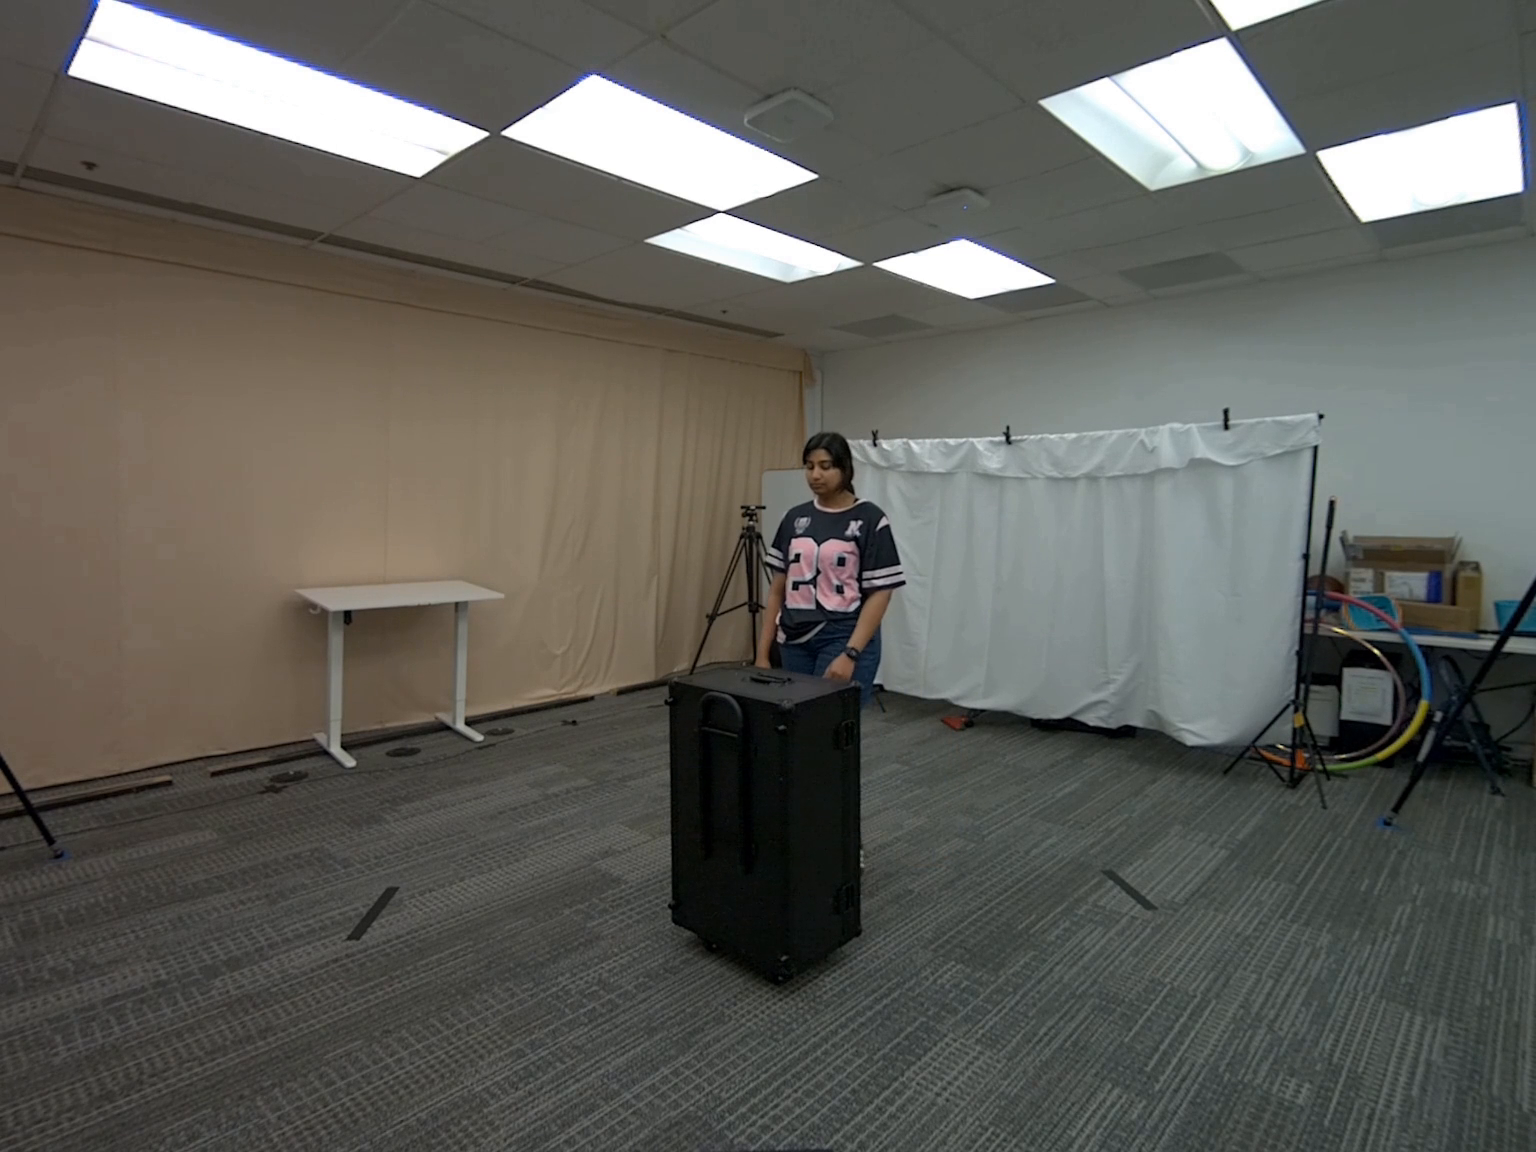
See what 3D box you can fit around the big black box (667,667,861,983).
[{"bbox_3d":[-0.007,0.756,2.600,0.541,0.866,0.373,3,5,43],"label":"big black box"}]
